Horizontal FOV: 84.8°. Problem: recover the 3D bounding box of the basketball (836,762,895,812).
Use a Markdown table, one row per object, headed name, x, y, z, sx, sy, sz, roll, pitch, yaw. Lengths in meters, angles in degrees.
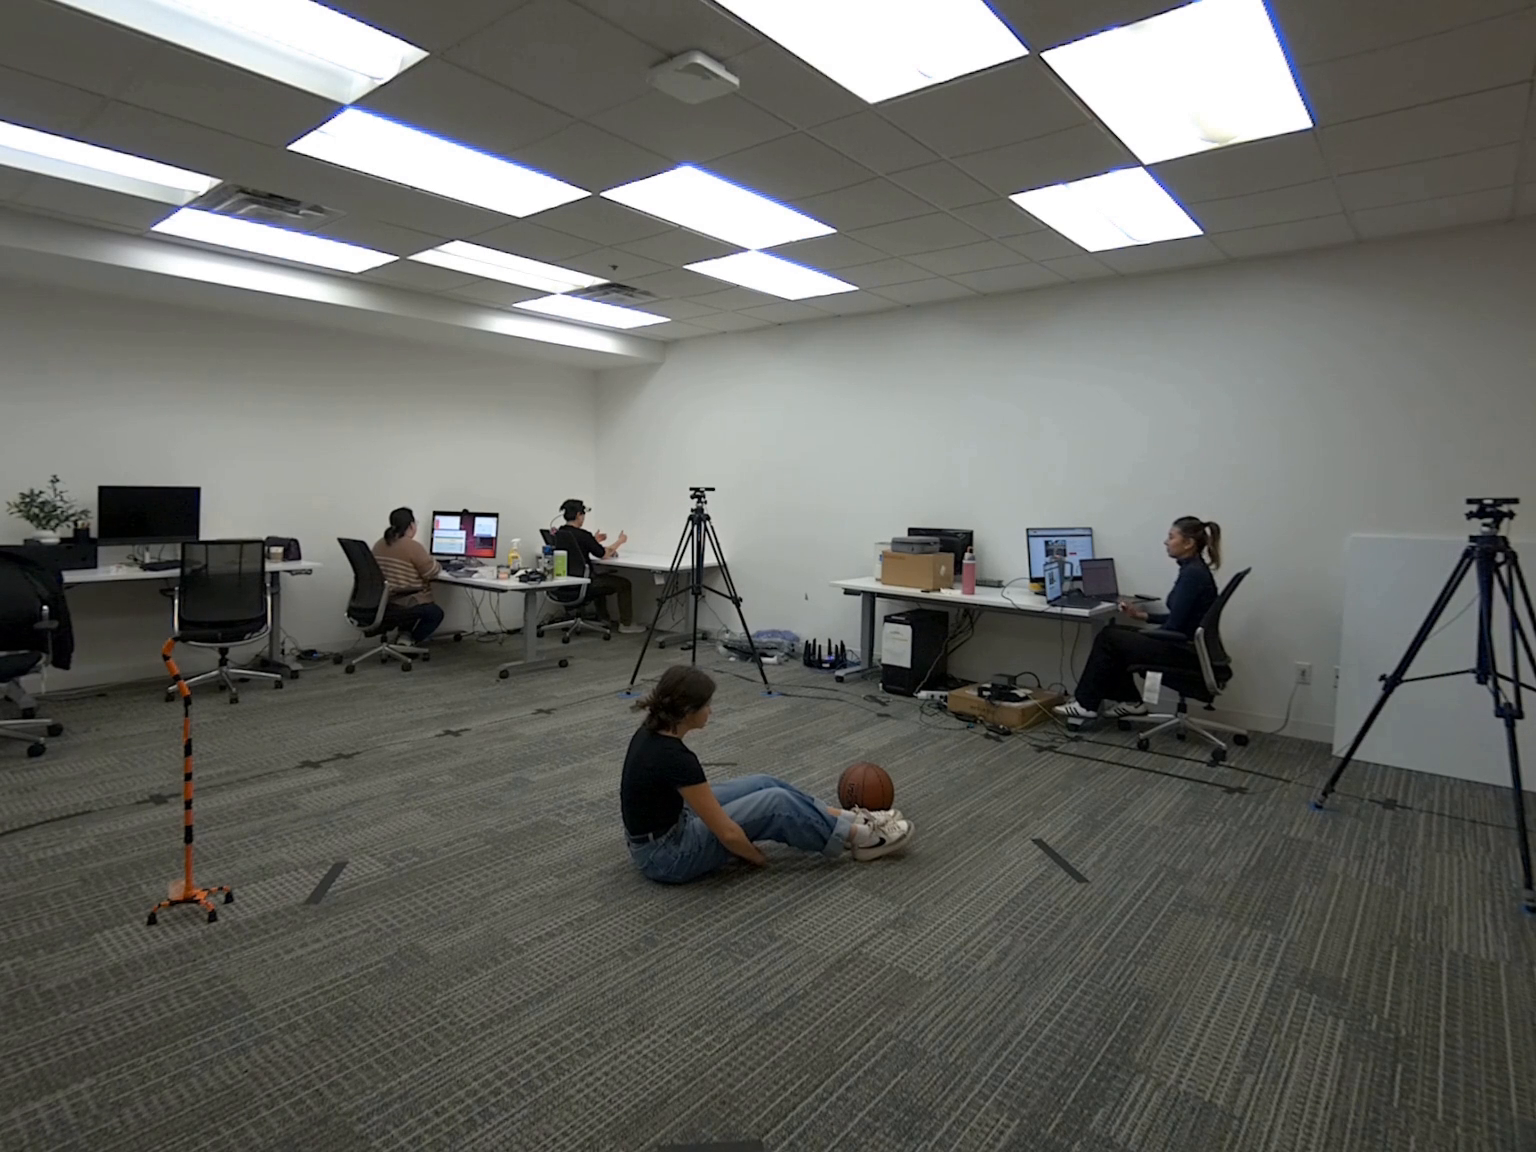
| name | x | y | z | sx | sy | sz | roll | pitch | yaw |
| --- | --- | --- | --- | --- | --- | --- | --- | --- | --- |
| basketball | 0.408 | 0.907 | 3.612 | 0.235 | 0.235 | 0.237 | 1 | 4 | -2 |
